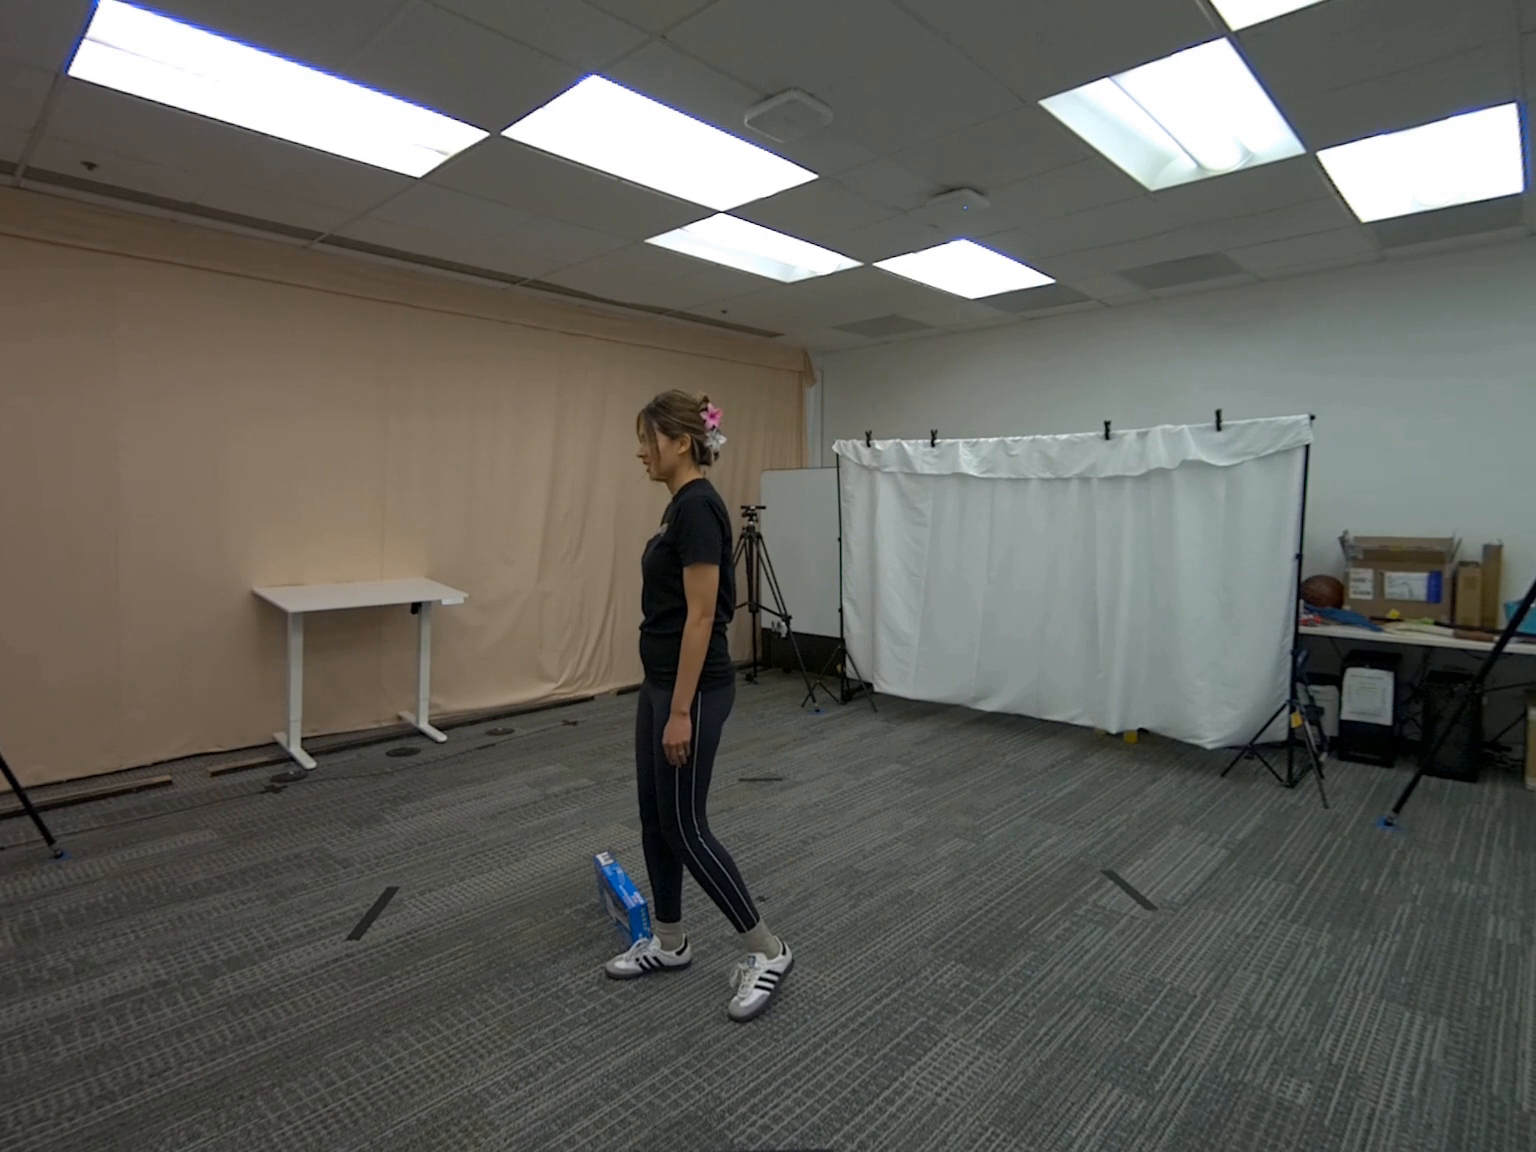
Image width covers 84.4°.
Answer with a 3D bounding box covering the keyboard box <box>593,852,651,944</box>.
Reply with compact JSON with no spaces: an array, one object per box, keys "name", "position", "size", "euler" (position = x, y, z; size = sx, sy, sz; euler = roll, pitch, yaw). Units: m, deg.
[{"name":"keyboard box","position":[-0.481,1.078,2.775],"size":[0.058,0.175,0.448],"euler":[-11,9,-25]}]
